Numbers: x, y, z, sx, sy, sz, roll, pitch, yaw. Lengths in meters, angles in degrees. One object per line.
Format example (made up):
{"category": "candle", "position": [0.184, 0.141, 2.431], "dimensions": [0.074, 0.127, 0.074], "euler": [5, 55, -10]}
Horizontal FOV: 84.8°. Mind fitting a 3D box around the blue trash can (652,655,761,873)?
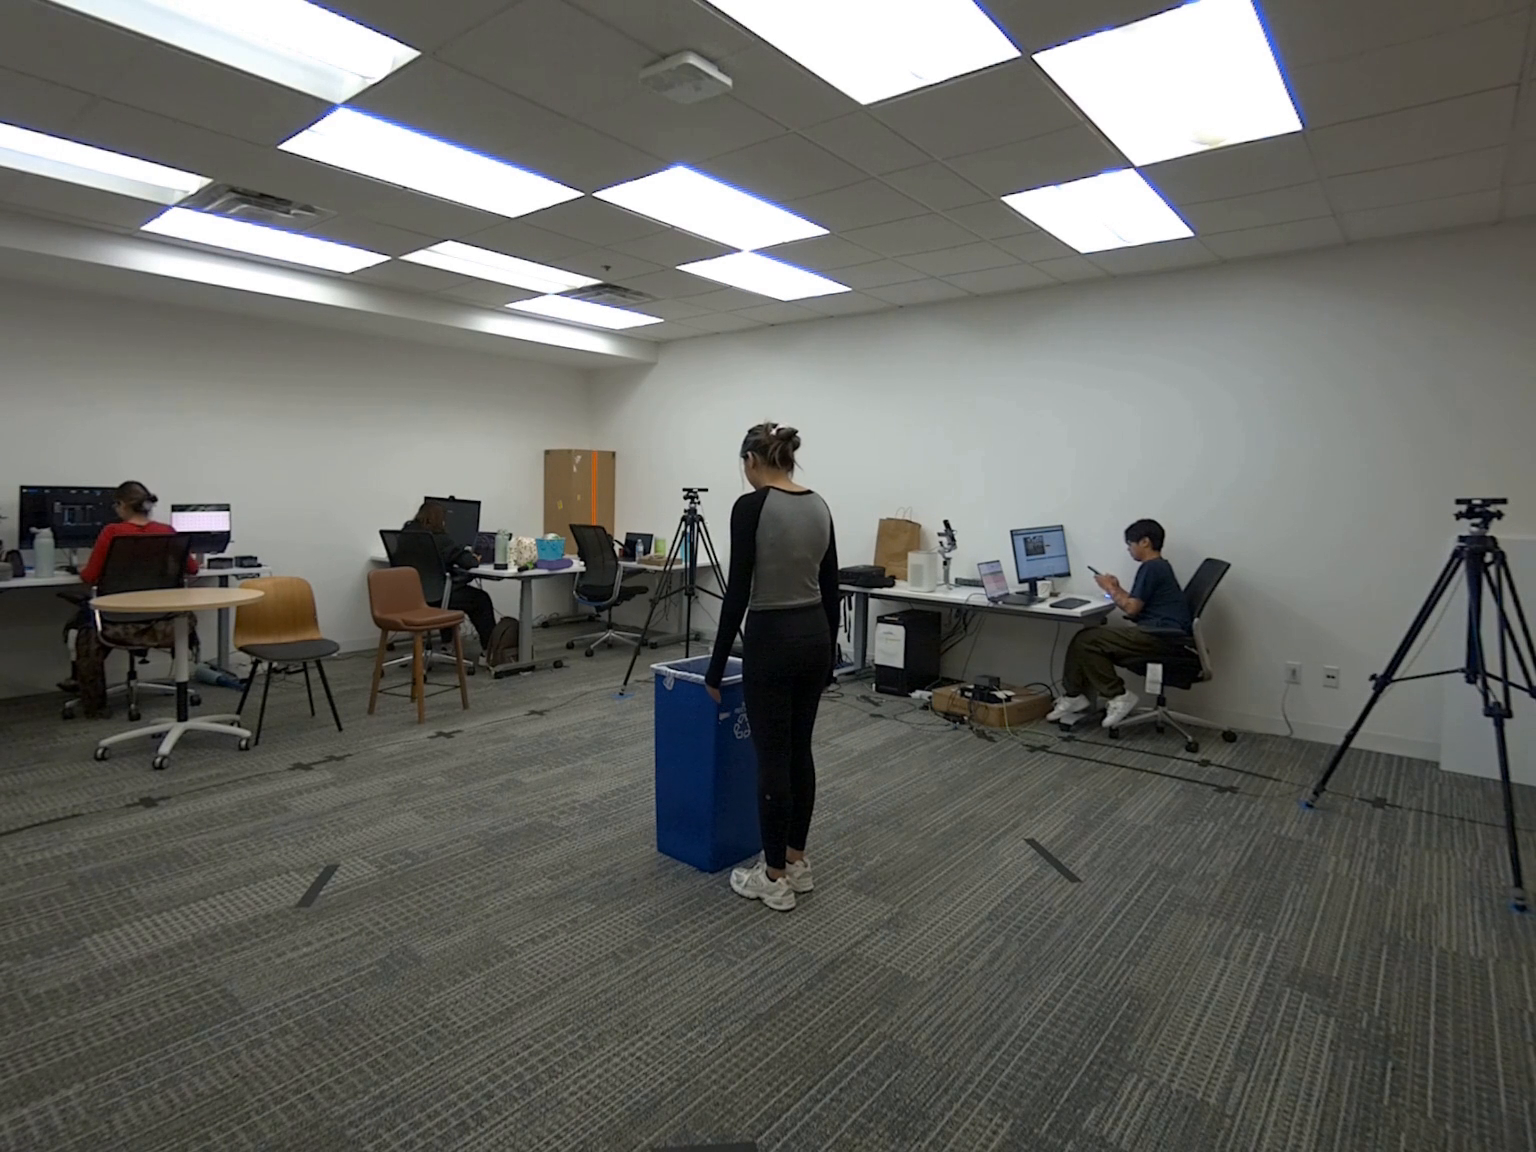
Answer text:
{"category": "blue trash can", "position": [-0.224, 0.697, 3.269], "dimensions": [0.391, 0.711, 0.363], "euler": [4, 4, 41]}
